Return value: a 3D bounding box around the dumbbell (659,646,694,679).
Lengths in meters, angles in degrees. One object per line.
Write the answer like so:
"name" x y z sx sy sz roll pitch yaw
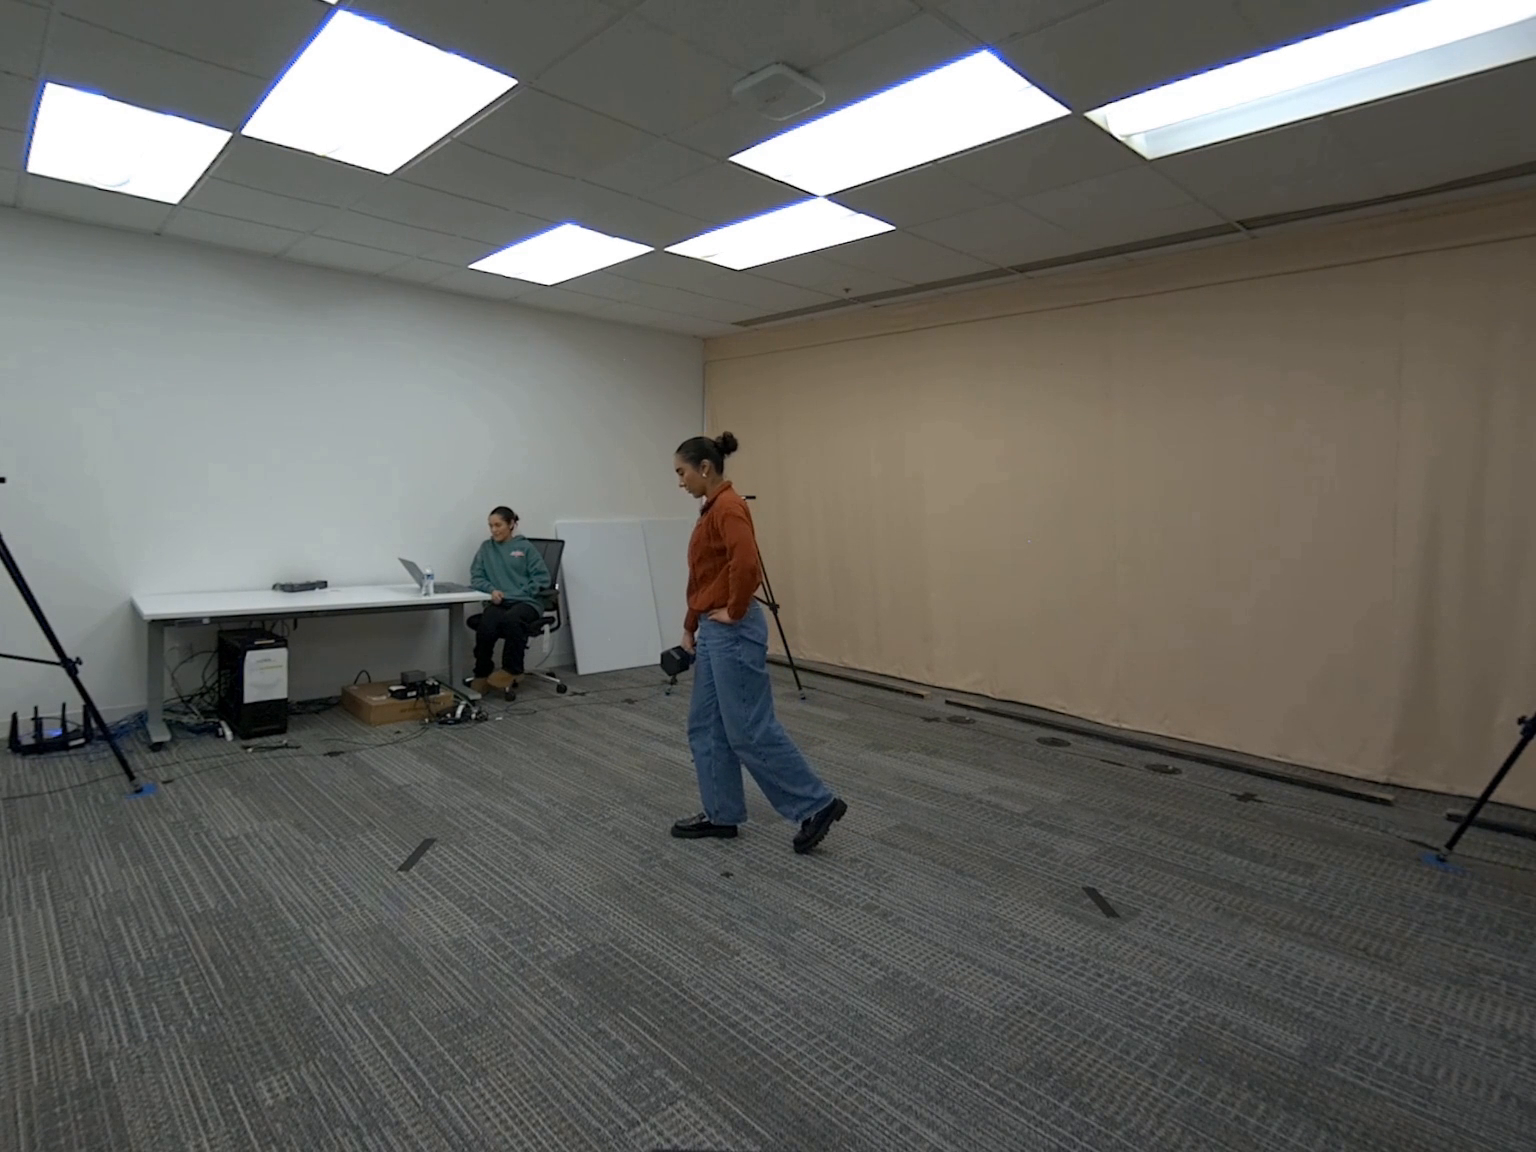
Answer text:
"dumbbell" -0.324 0.338 3.535 0.111 0.122 0.288 11 14 35
